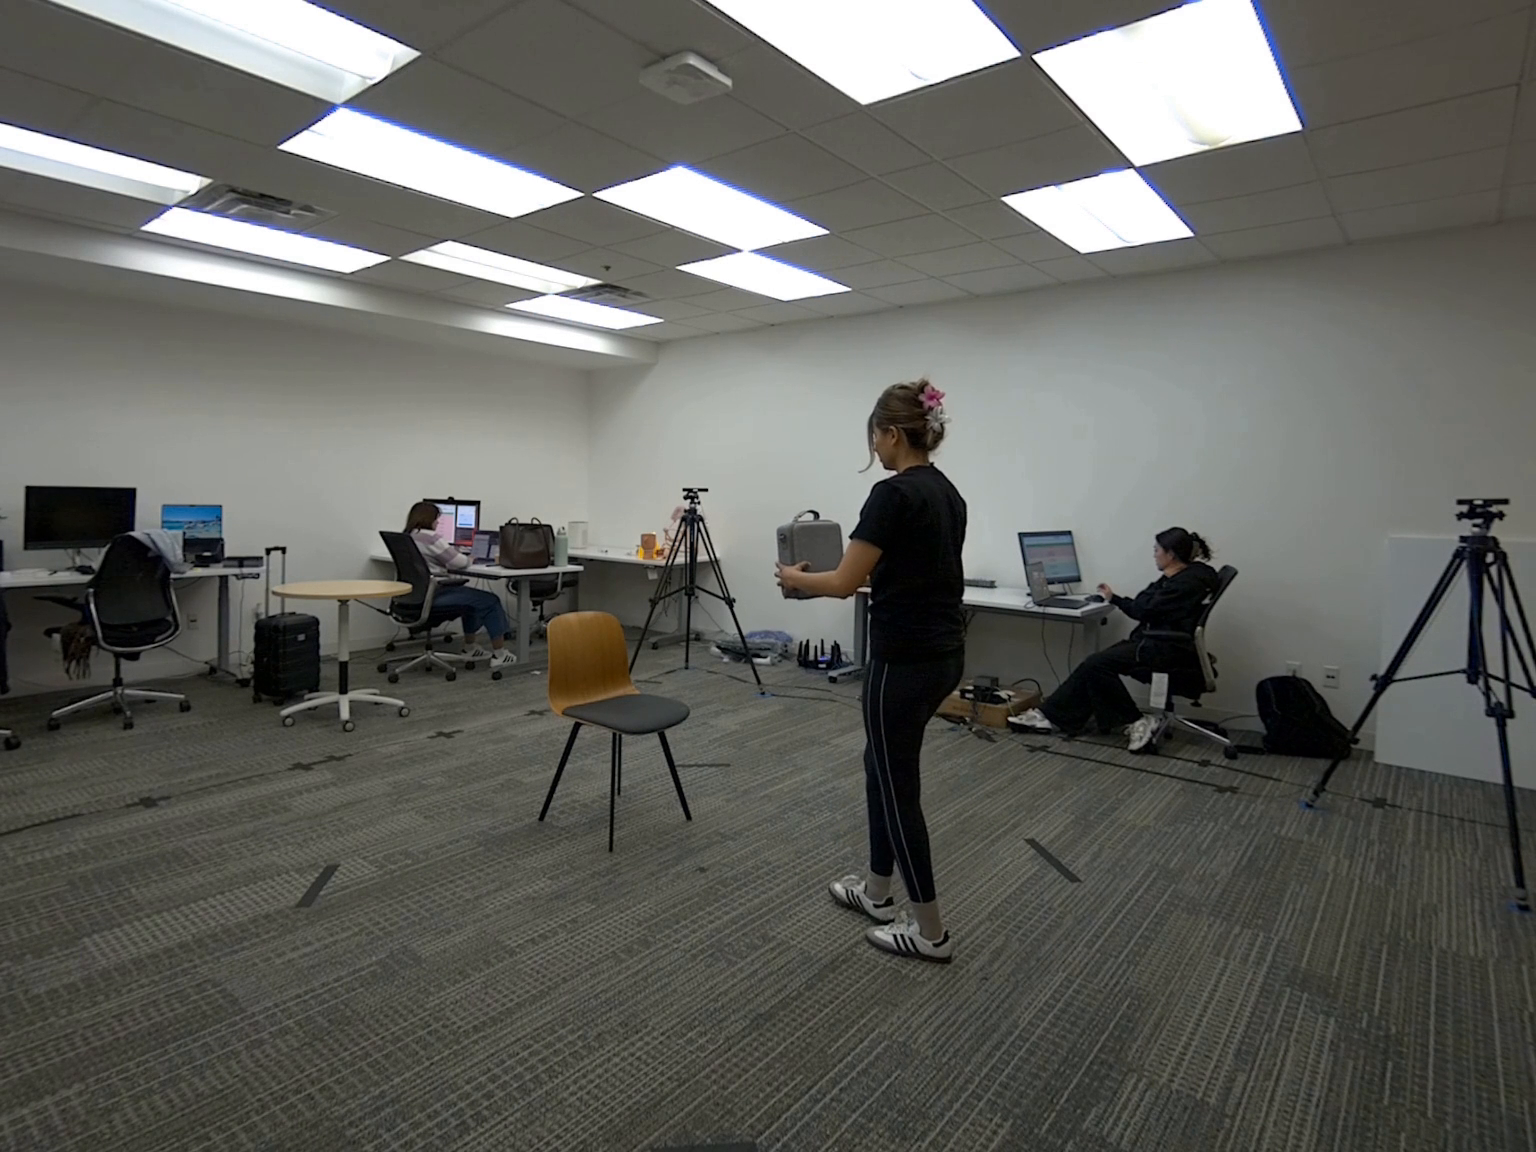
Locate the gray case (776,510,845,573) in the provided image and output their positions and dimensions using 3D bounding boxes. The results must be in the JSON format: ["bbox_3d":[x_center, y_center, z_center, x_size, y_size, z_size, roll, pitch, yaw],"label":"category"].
[{"bbox_3d":[0.137,-0.065,2.861,0.107,0.261,0.249,-5,-2,43],"label":"gray case"}]
